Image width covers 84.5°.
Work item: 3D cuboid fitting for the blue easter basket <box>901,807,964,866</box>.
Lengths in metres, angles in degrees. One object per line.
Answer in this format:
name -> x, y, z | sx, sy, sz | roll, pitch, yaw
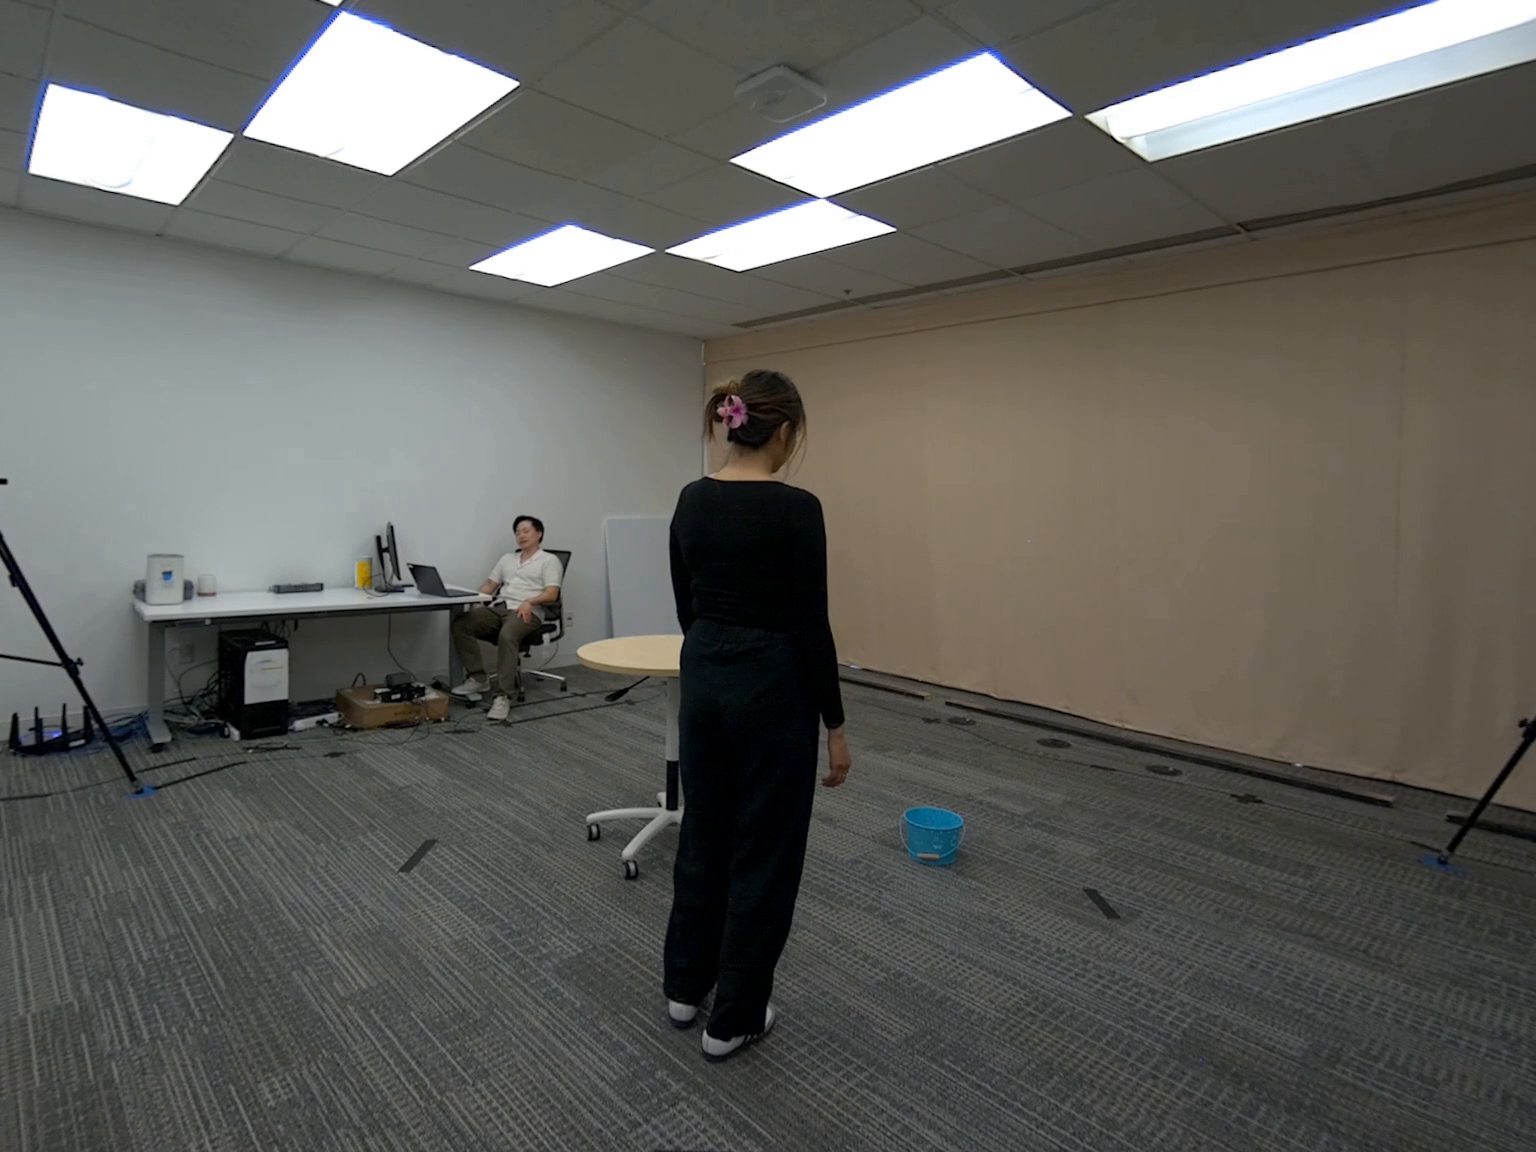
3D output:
blue easter basket -> 0.642, 1.031, 3.328 | 0.243, 0.155, 0.244 | 1, 4, -1
